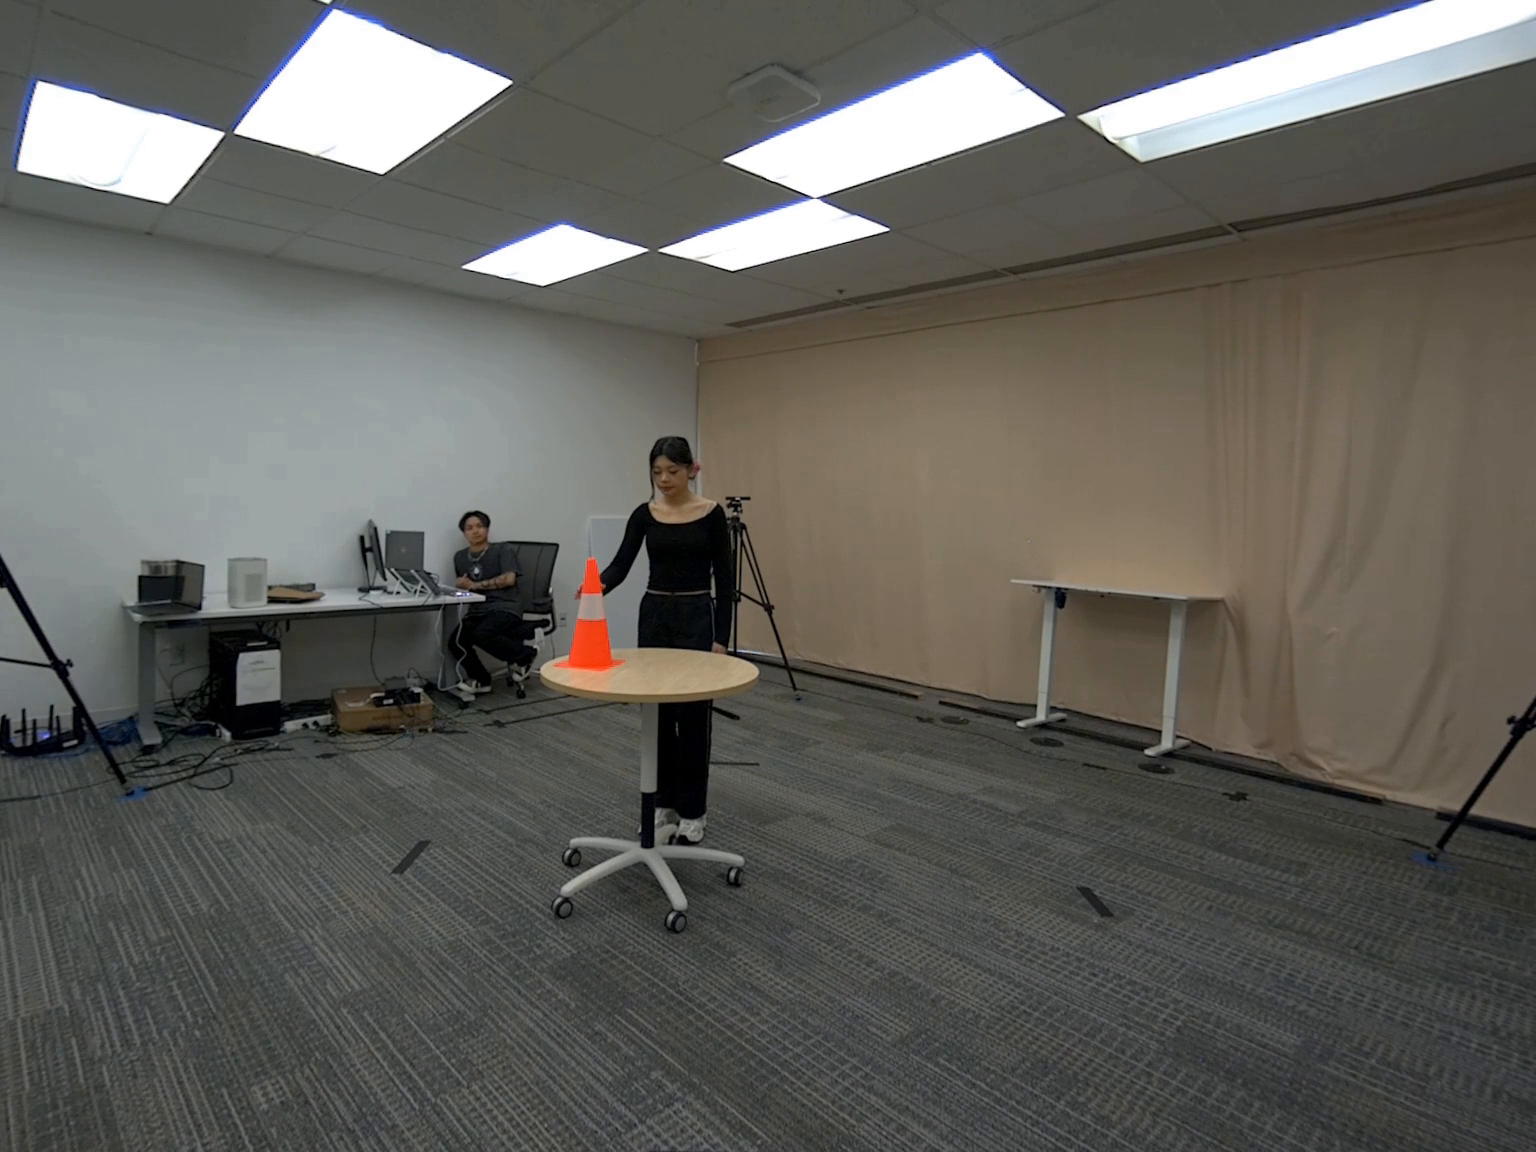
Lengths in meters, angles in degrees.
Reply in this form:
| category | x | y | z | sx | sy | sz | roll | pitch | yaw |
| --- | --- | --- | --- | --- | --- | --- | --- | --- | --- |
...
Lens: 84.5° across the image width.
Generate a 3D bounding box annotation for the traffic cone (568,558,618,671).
| category | x | y | z | sx | sy | sz | roll | pitch | yaw |
| --- | --- | --- | --- | --- | --- | --- | --- | --- | --- |
| traffic cone | -0.643 | 0.130 | 3.015 | 0.208 | 0.383 | 0.200 | 1 | 1 | 18 |
